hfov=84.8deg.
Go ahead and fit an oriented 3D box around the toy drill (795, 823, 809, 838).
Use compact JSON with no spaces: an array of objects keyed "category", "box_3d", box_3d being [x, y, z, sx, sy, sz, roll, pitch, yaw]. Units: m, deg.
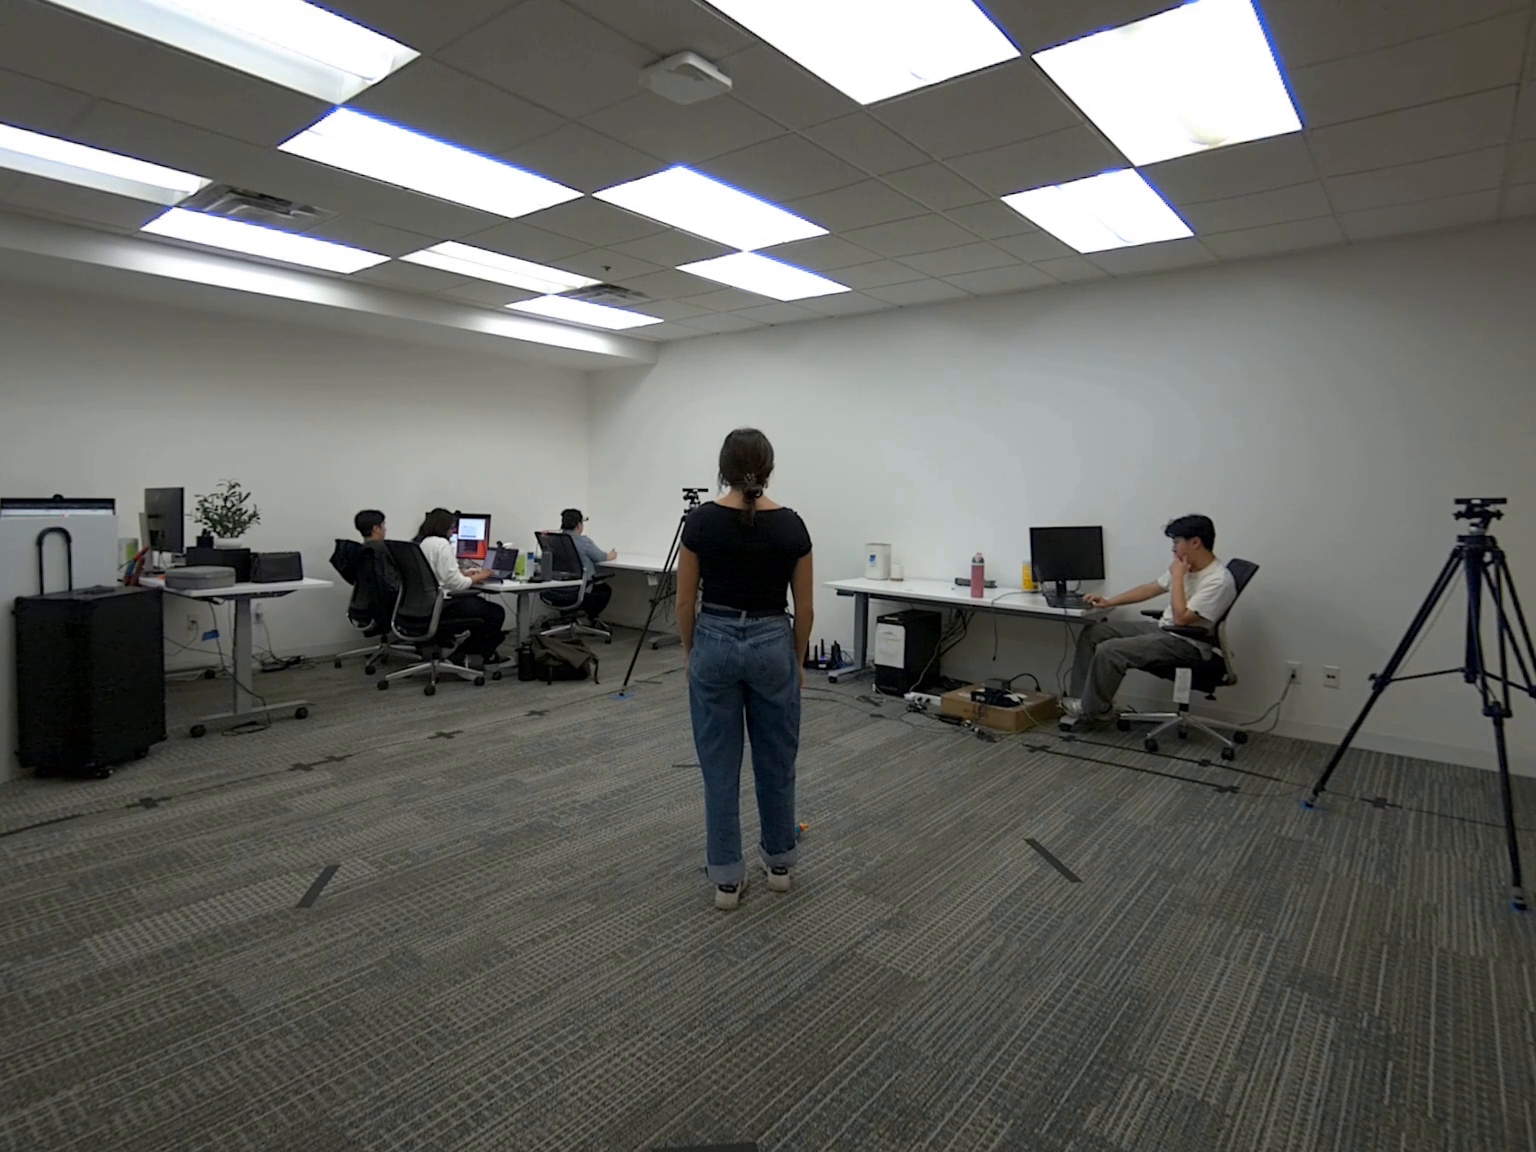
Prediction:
[{"category":"toy drill","box_3d":[0.090,1.002,3.426,0.165,0.061,0.151,-12,11,-38]}]
